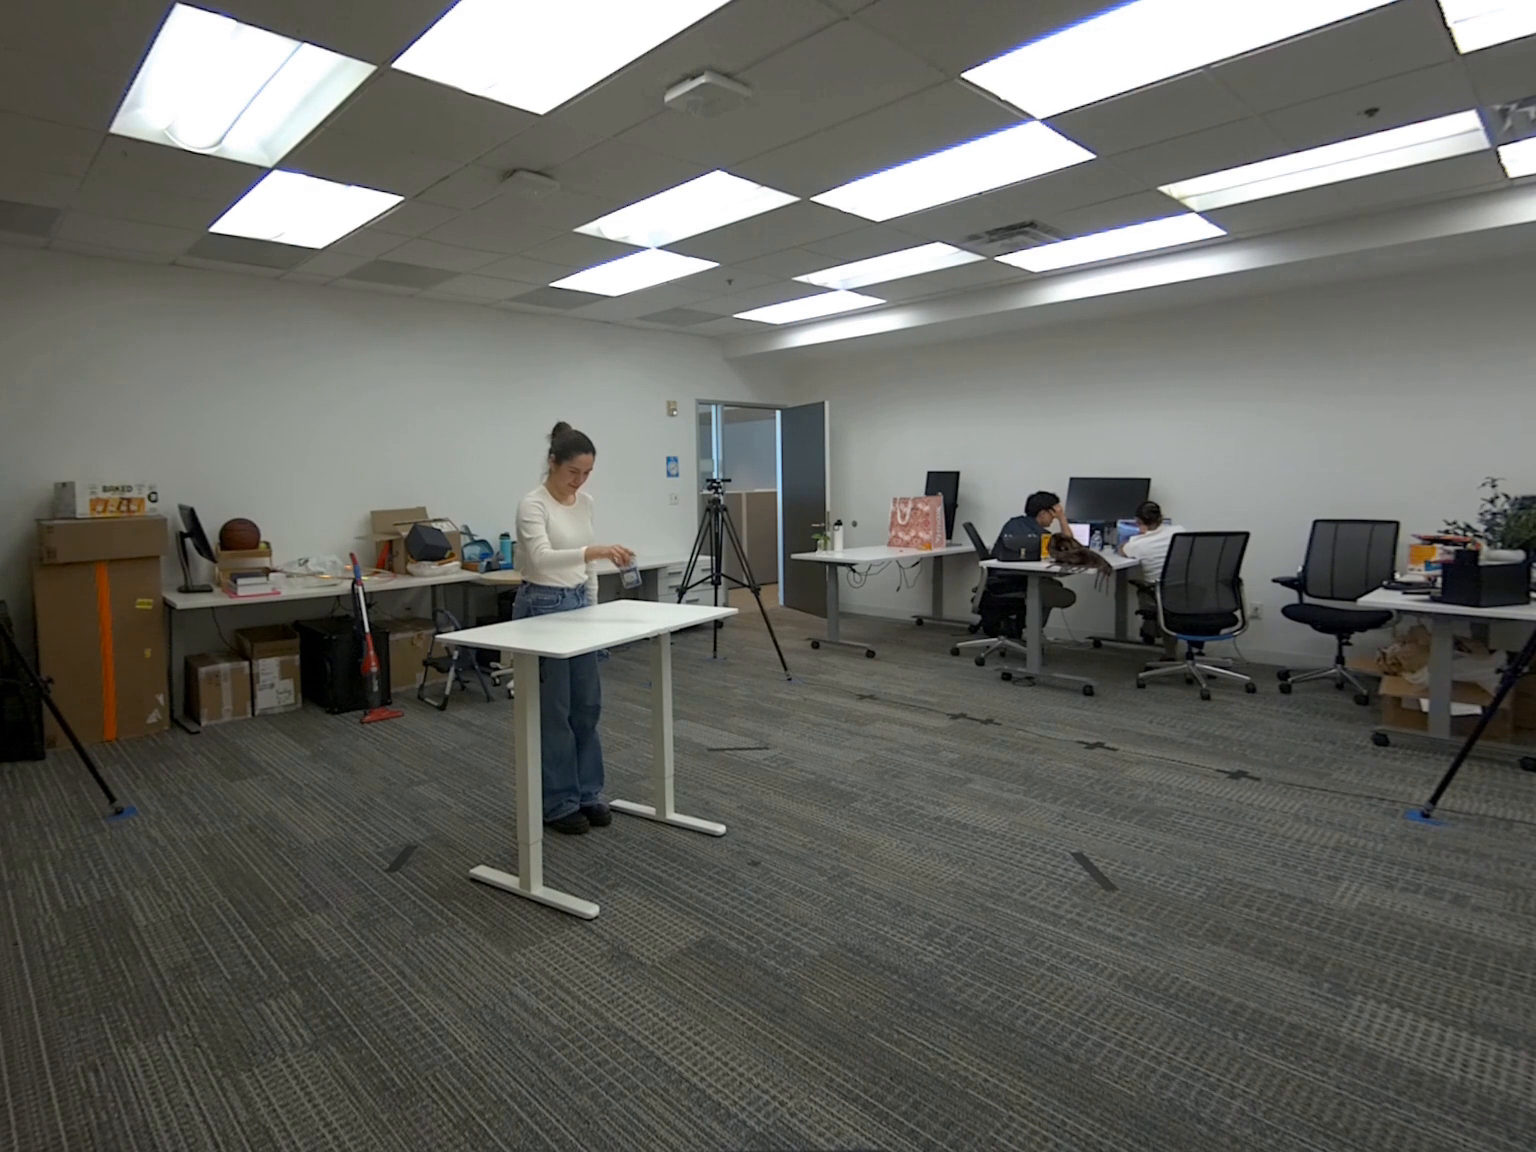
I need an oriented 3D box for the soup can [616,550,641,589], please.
[{"bbox_3d":[-0.508,-0.026,3.091,0.067,0.121,0.067,-8,6,-1],"label":"soup can"}]
